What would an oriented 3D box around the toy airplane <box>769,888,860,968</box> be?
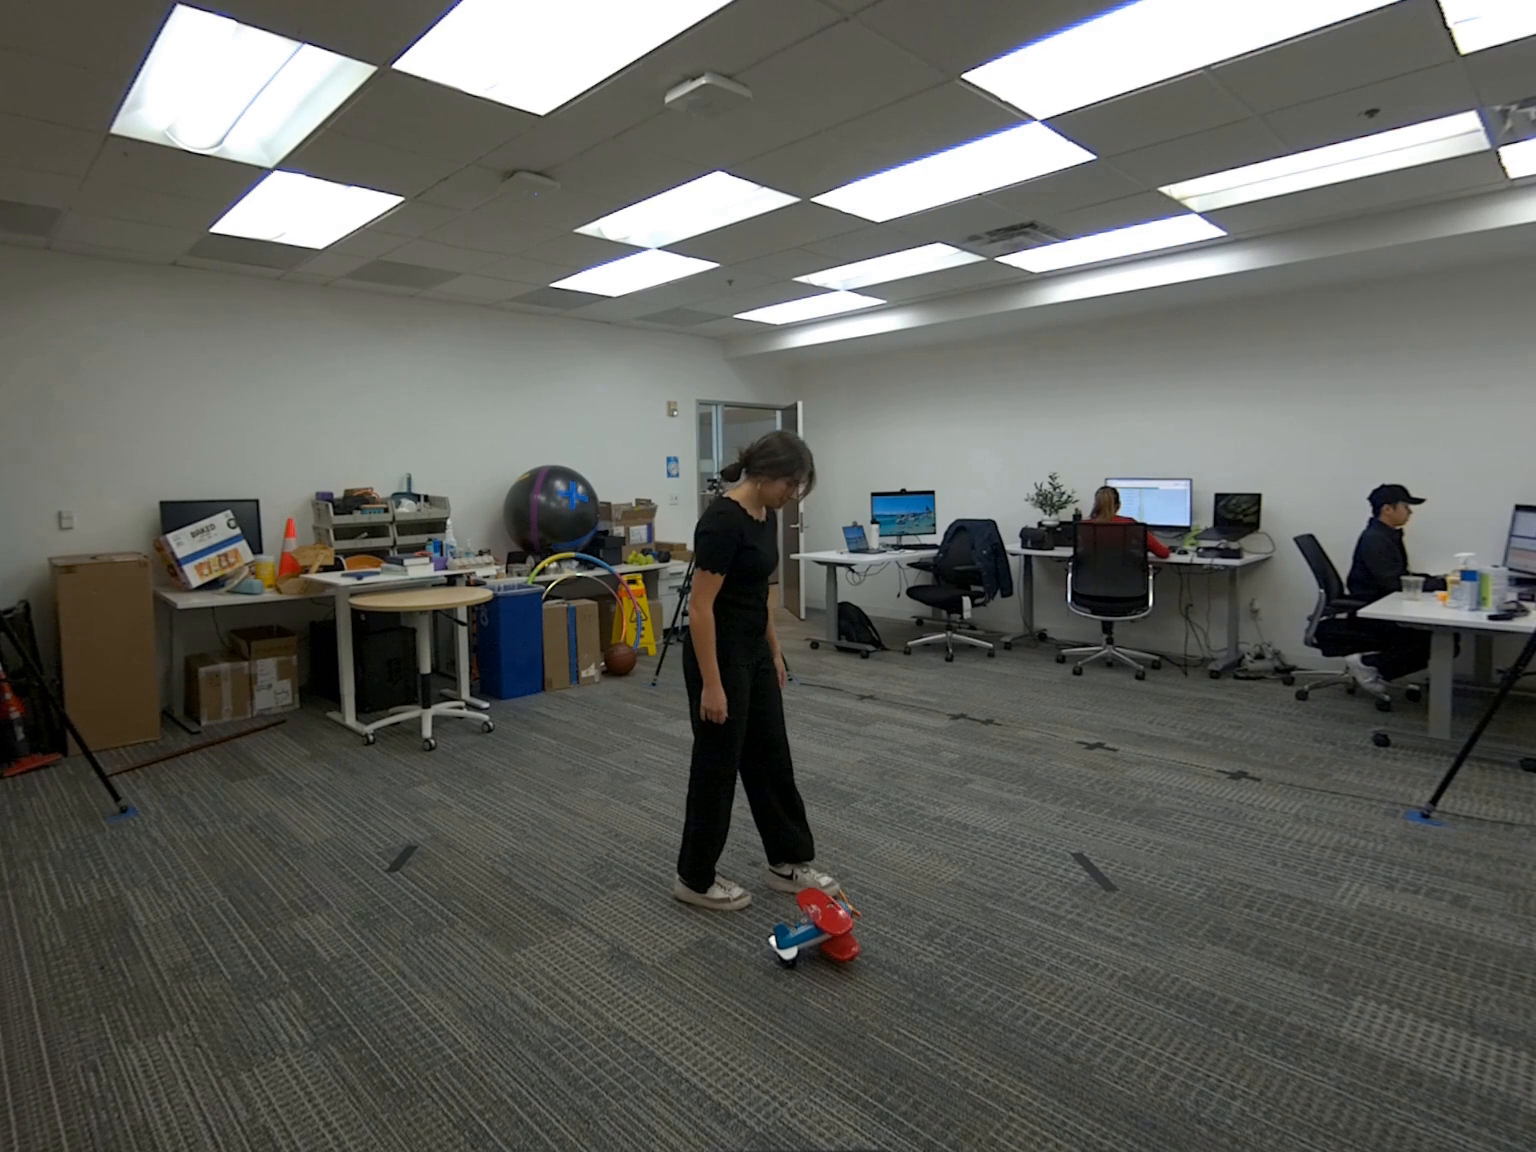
[{"bbox_3d":[0.154,1.044,2.464,0.259,0.156,0.253,5,8,36],"label":"toy airplane"}]
